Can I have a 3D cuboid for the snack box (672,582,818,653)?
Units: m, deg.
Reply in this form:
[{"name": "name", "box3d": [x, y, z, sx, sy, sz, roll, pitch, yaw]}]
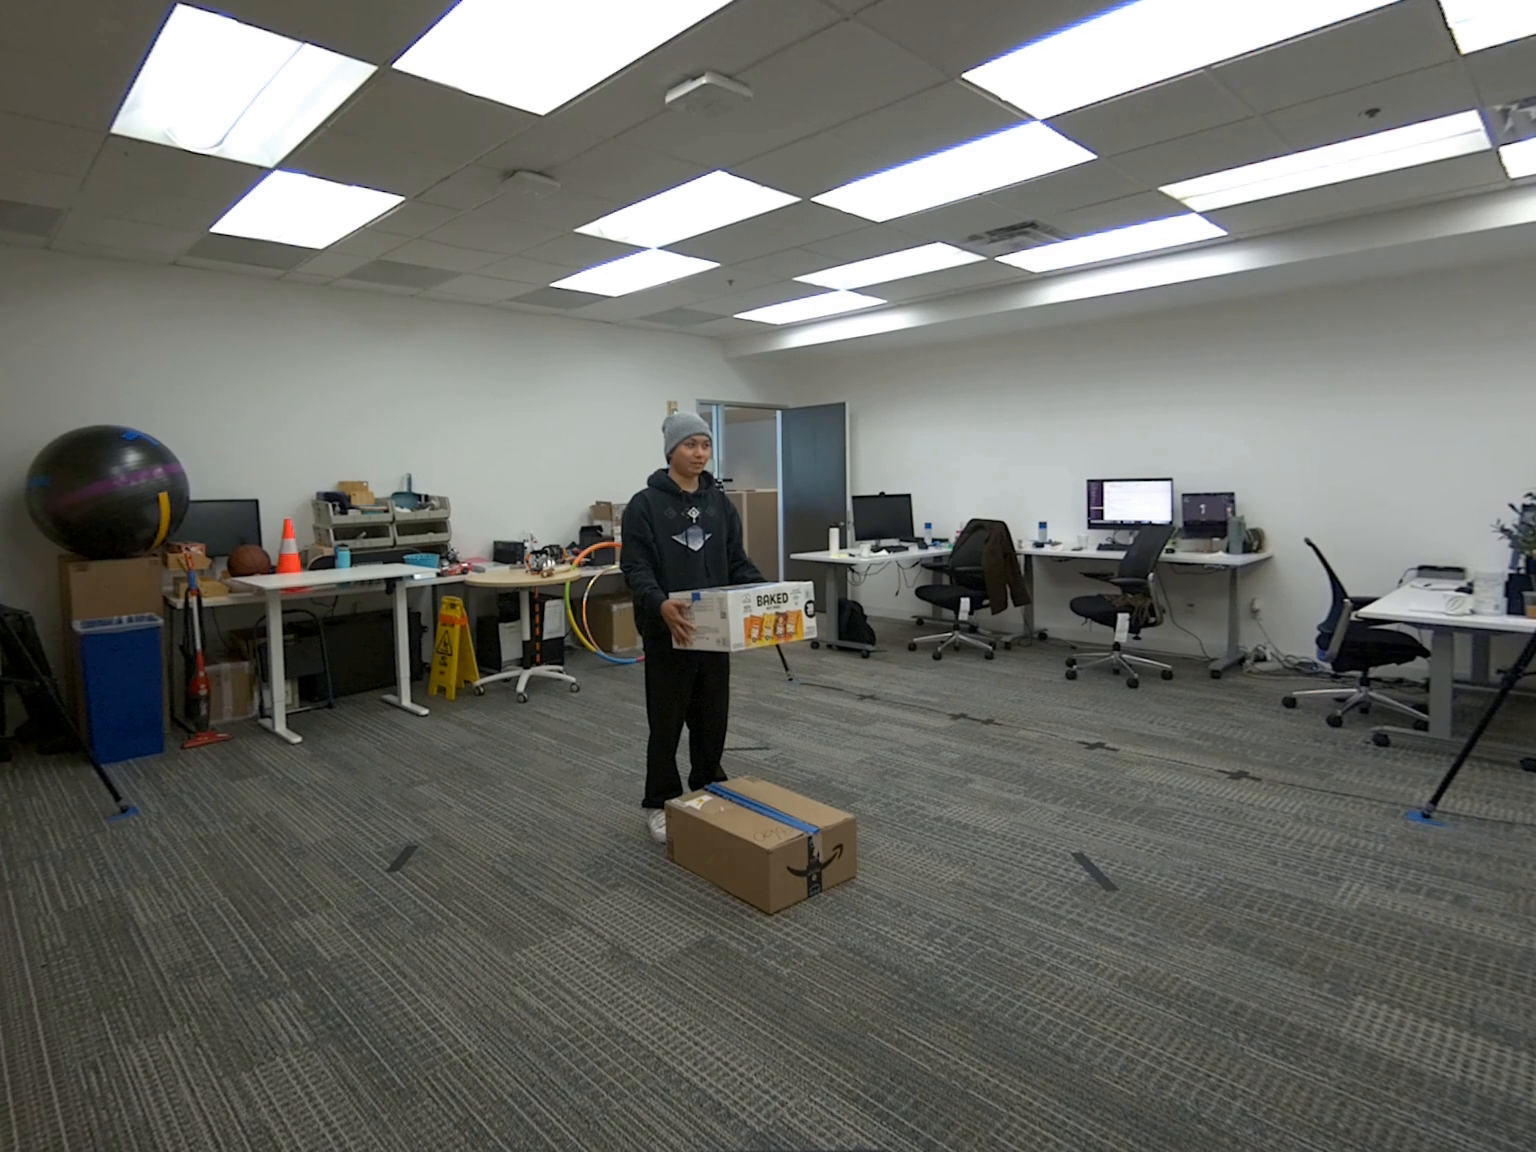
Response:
[{"name": "snack box", "box3d": [-0.088, 0.142, 3.082, 0.394, 0.206, 0.349, -5, 1, -40]}]
